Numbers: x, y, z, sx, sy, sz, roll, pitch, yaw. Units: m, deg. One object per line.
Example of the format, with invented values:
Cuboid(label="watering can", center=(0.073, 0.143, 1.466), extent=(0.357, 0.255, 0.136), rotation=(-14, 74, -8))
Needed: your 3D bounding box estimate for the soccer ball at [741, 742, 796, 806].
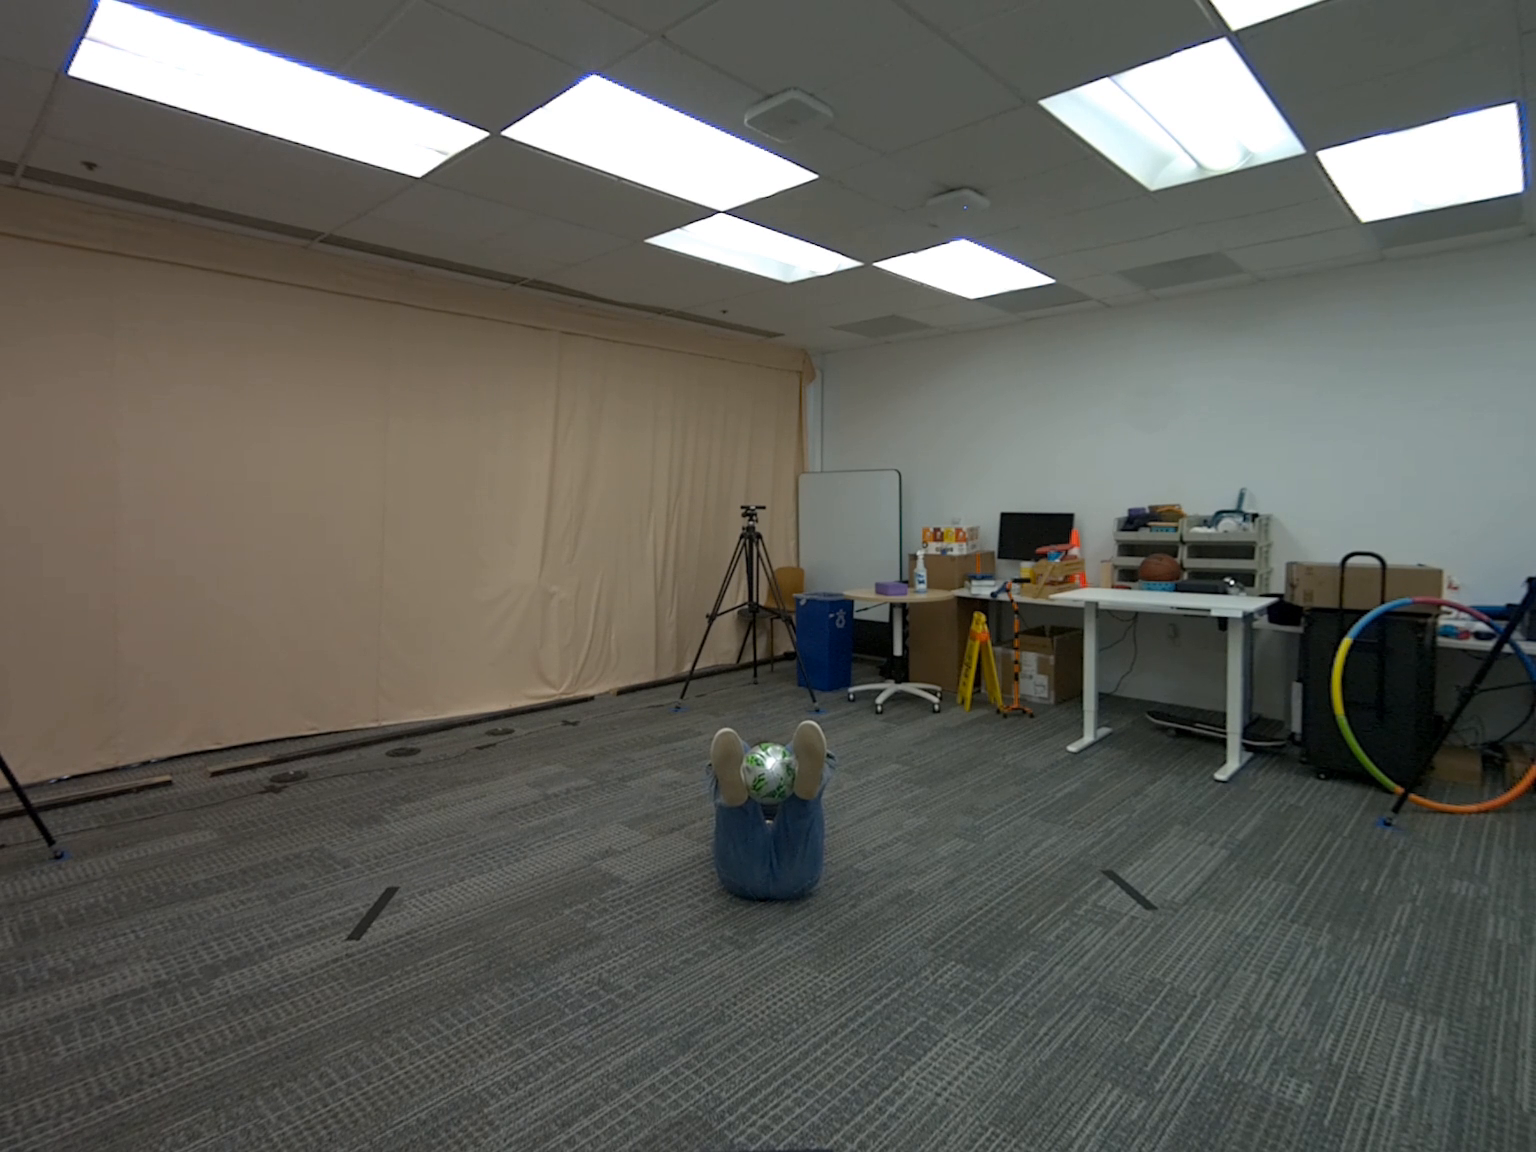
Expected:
Cuboid(label="soccer ball", center=(0.016, 0.628, 2.625), extent=(0.187, 0.187, 0.188), rotation=(3, 4, -2))
